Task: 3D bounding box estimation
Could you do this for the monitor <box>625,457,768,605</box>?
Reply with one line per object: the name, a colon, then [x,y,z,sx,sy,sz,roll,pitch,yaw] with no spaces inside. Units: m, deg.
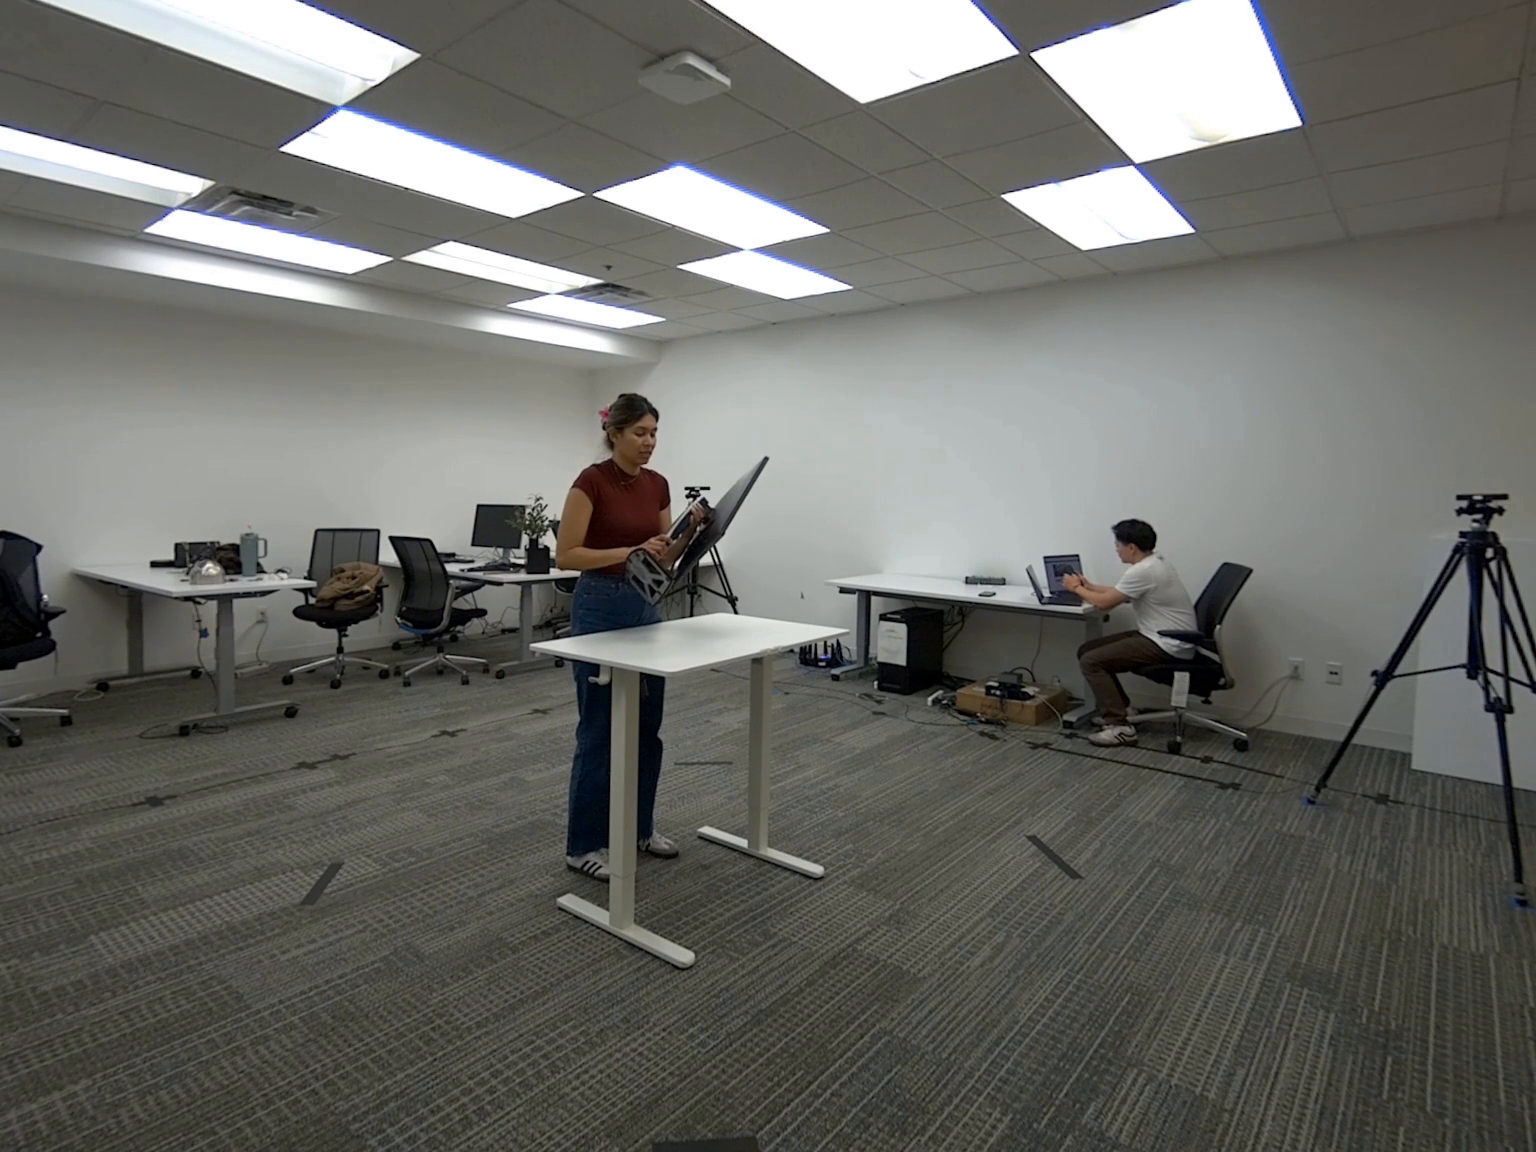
monitor: [-0.262,-0.149,2.964,0.521,0.187,0.541,-45,4,-29]
